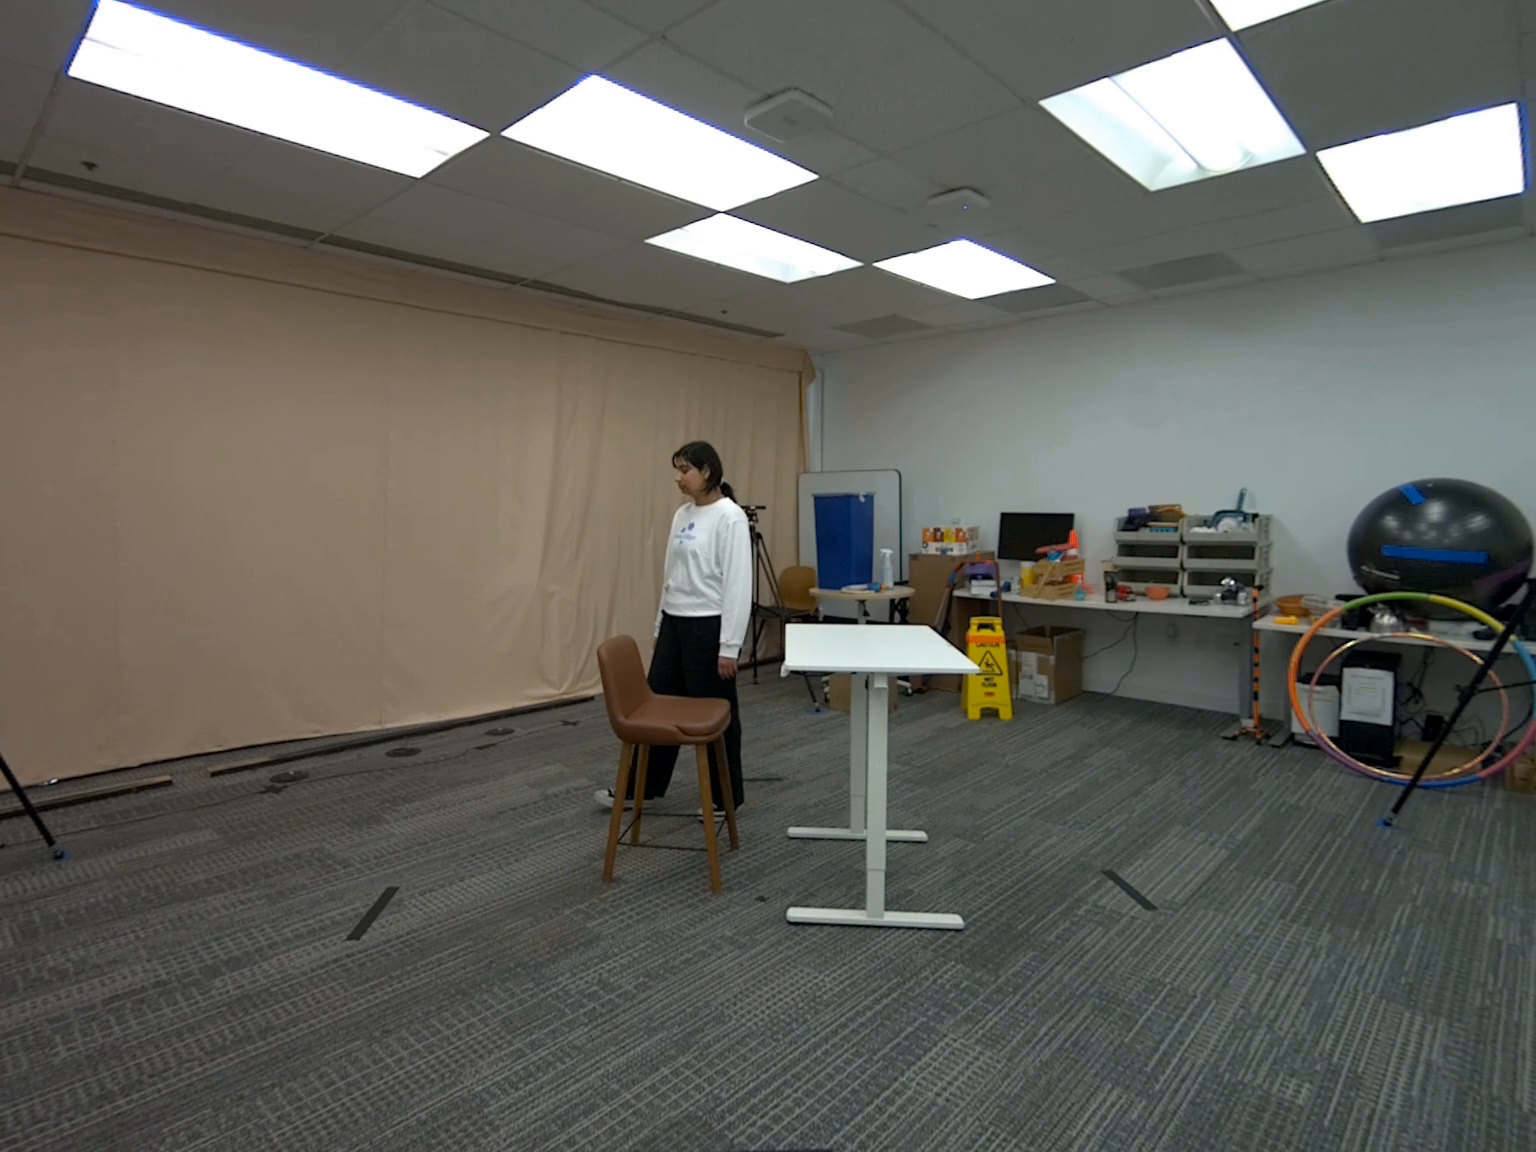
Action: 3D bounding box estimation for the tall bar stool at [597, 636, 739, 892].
[{"bbox_3d":[-0.377,0.689,3.249,0.473,0.888,0.451,-2,2,11],"label":"tall bar stool"}]
